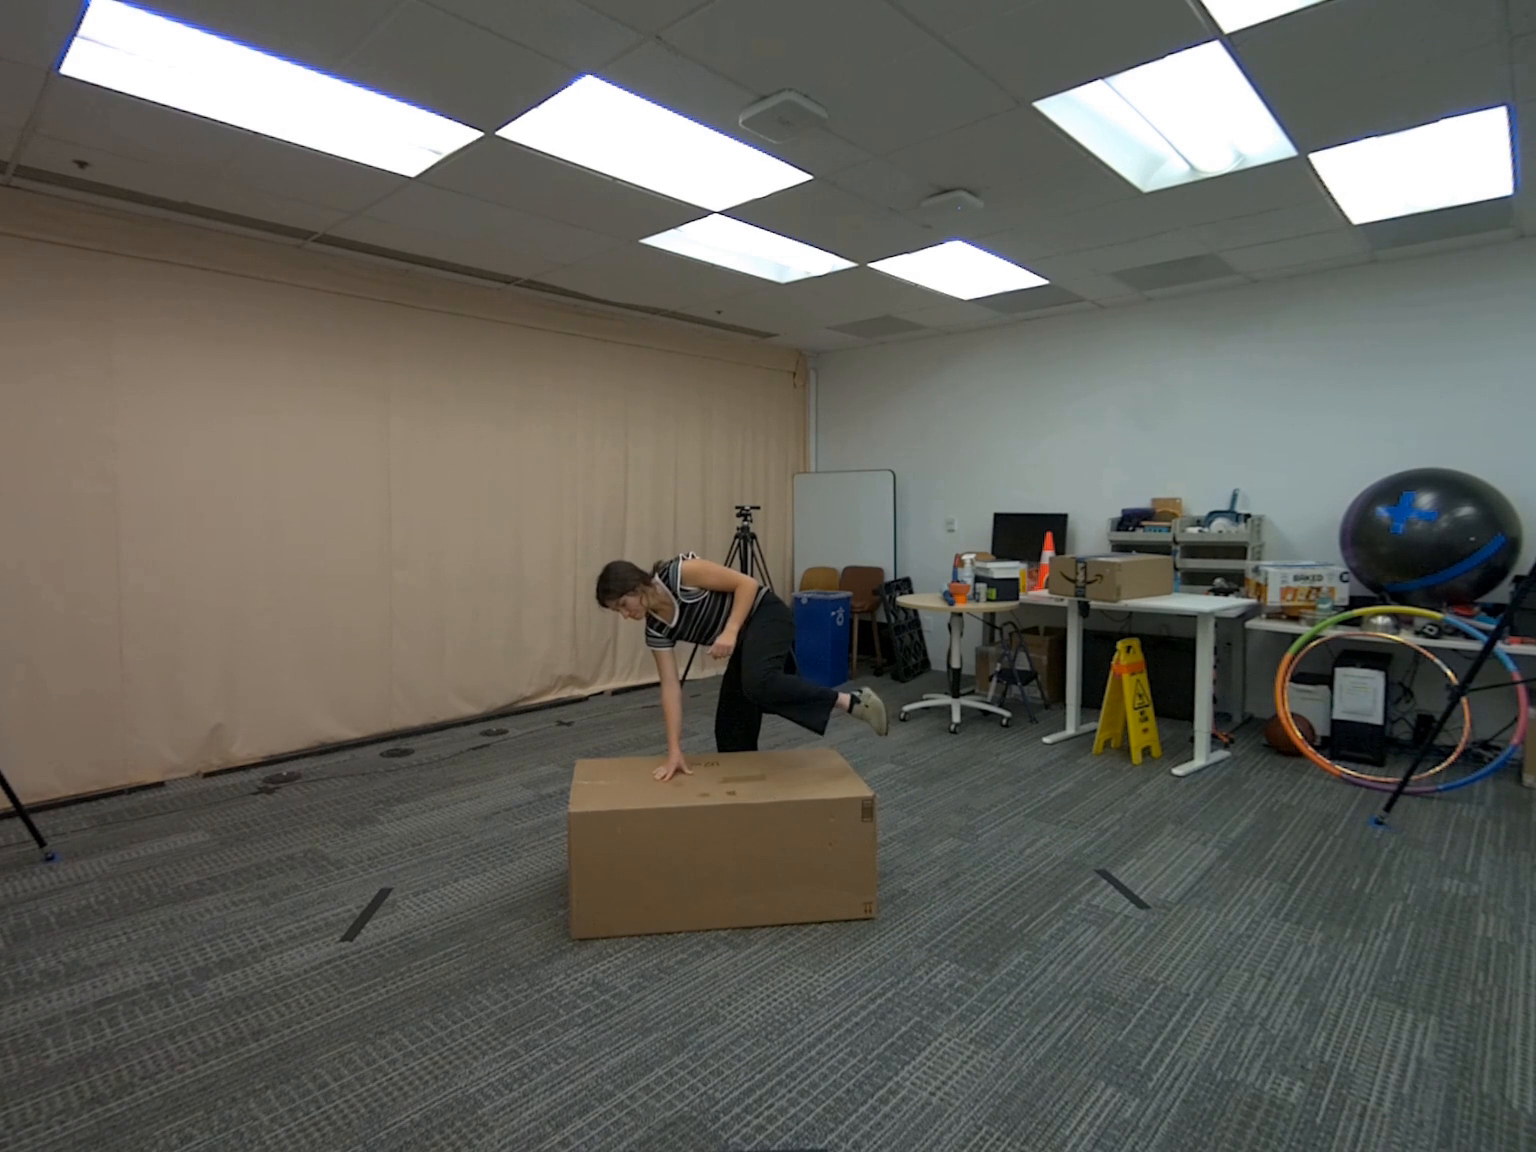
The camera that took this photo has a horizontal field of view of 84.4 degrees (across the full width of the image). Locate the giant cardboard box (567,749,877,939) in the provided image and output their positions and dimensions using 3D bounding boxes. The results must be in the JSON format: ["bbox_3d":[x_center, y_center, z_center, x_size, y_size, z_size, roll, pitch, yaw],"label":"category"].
[{"bbox_3d":[-0.188,0.930,3.035,1.018,0.425,0.583,-1,4,-8],"label":"giant cardboard box"}]
